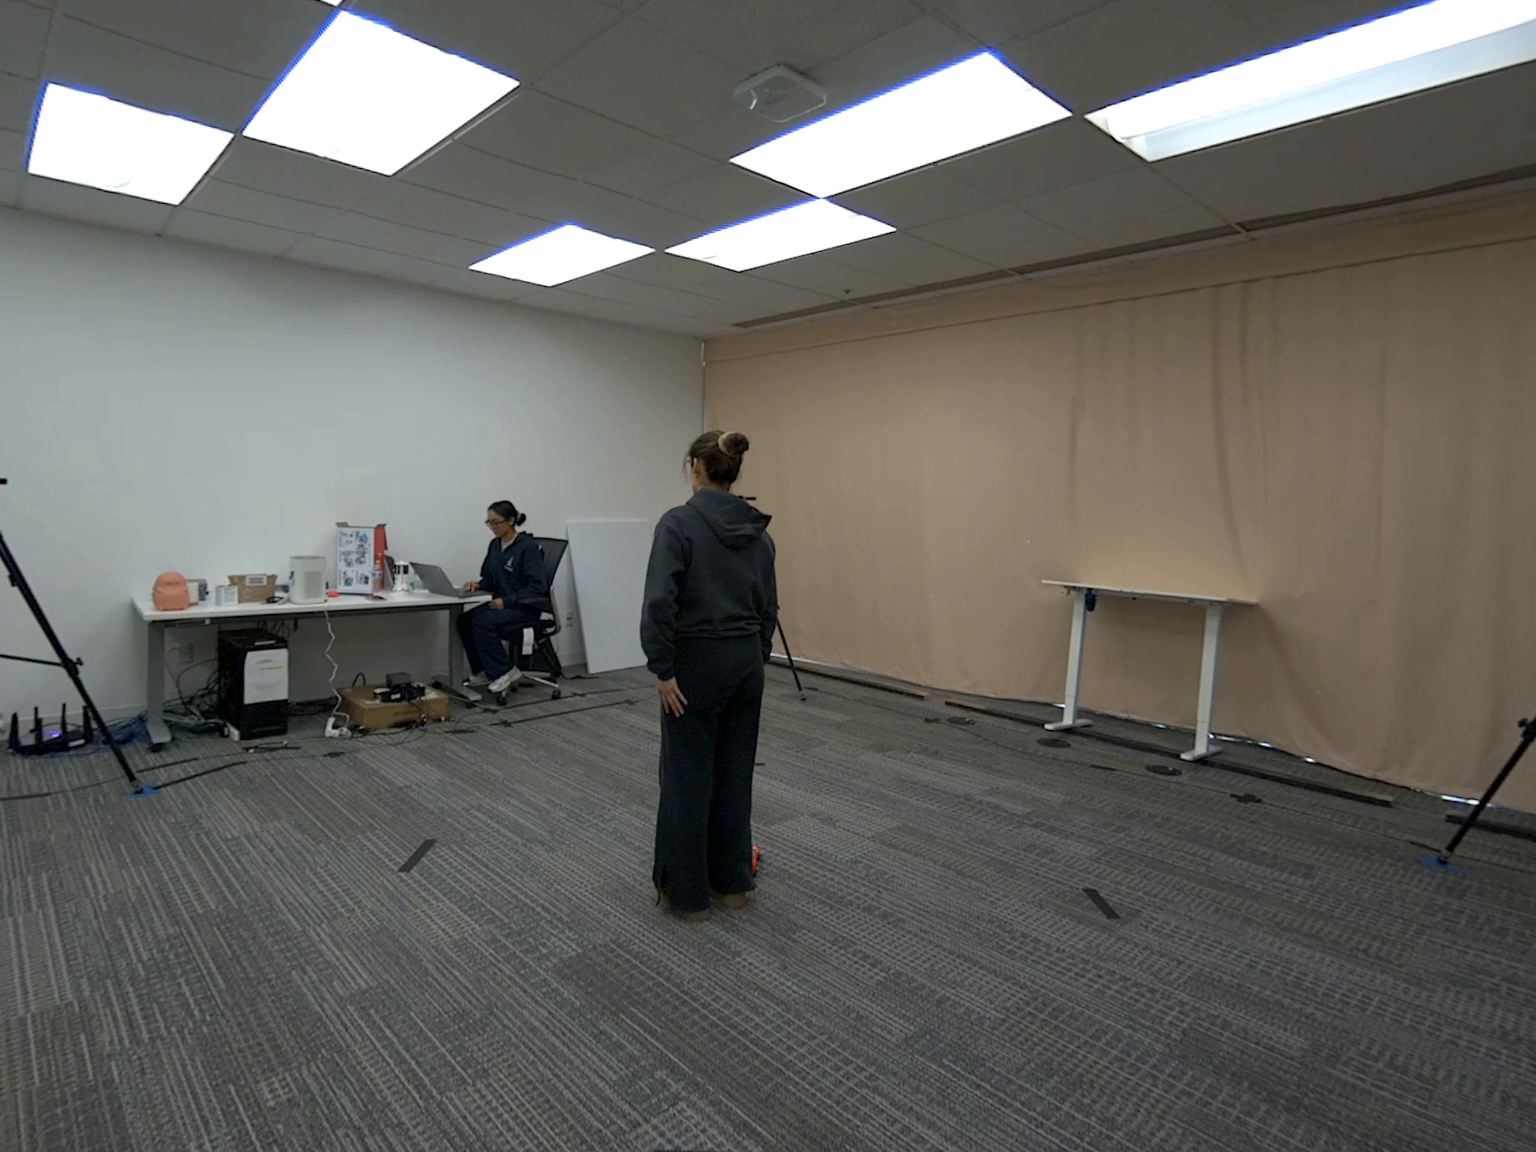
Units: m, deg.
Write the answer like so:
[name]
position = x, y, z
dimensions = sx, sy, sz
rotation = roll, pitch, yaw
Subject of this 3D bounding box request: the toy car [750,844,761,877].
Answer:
[toy car]
position = -0.097, 1.076, 3.173
dimensions = 0.131, 0.084, 0.252
rotation = 1, -7, 4
